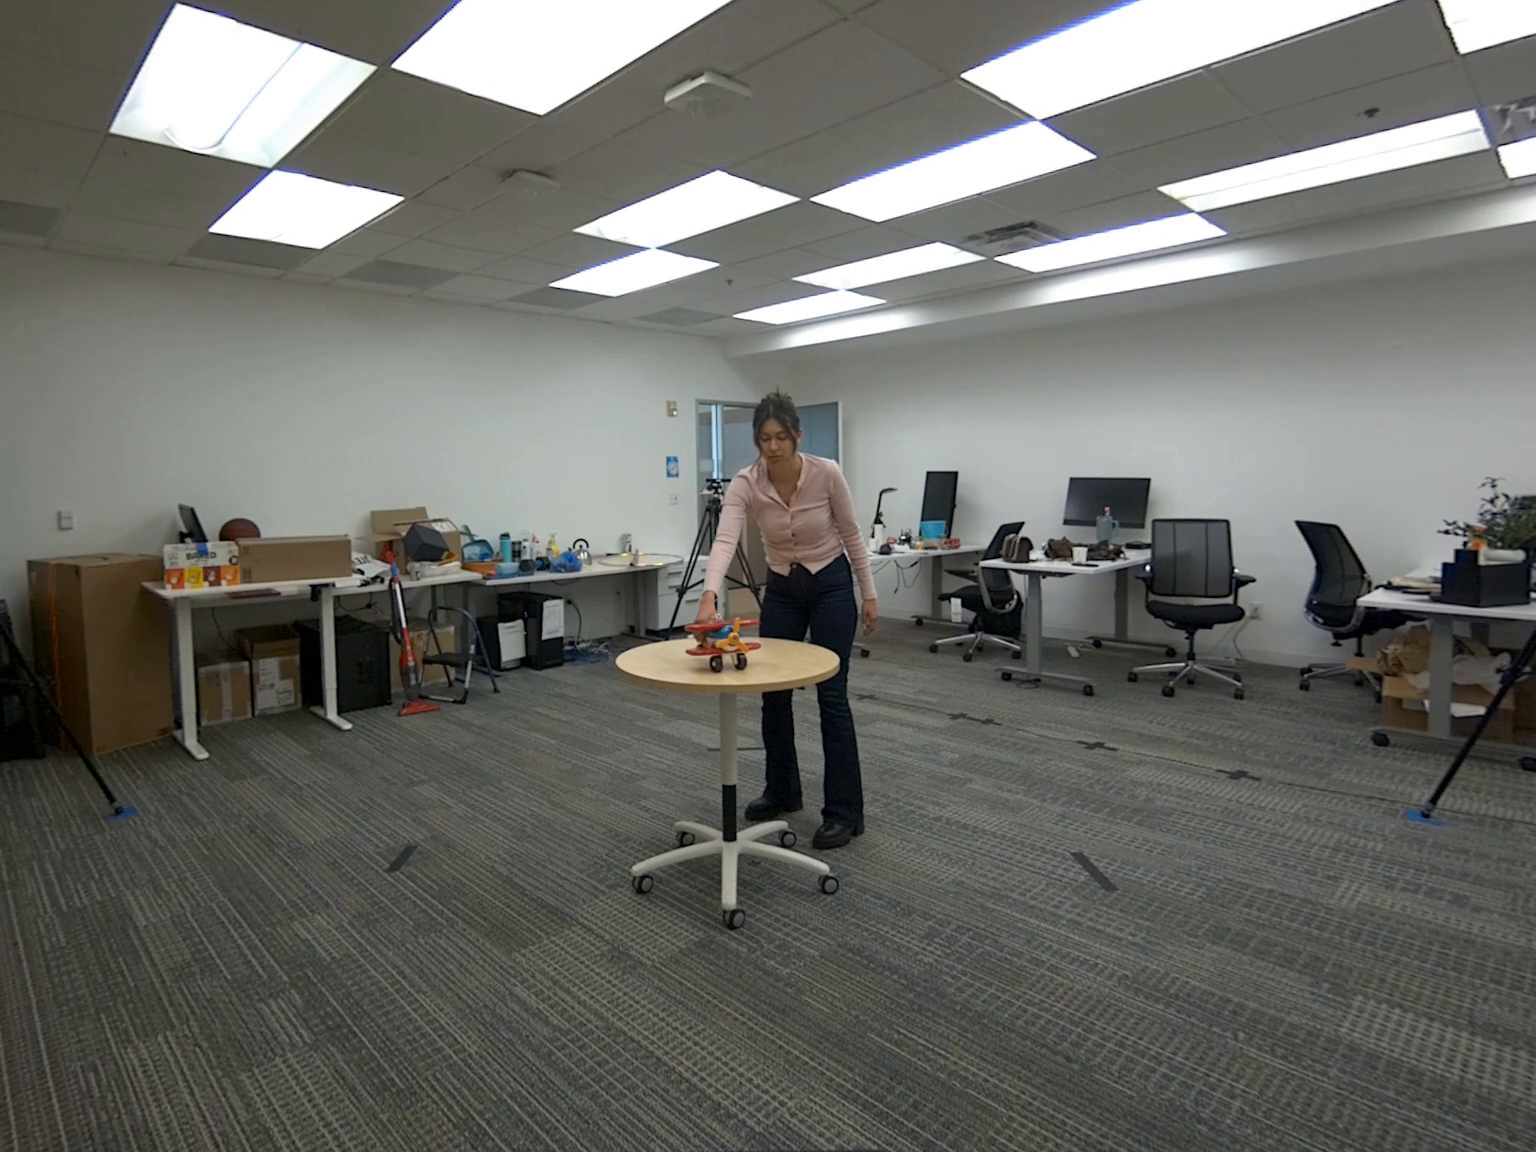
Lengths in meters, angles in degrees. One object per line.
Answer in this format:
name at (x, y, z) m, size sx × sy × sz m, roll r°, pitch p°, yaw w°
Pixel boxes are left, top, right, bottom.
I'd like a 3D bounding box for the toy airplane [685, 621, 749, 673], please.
toy airplane at (-0.175, 0.209, 2.801) m, size 0.268 × 0.155 × 0.245 m, roll 13°, pitch 17°, yaw 36°
